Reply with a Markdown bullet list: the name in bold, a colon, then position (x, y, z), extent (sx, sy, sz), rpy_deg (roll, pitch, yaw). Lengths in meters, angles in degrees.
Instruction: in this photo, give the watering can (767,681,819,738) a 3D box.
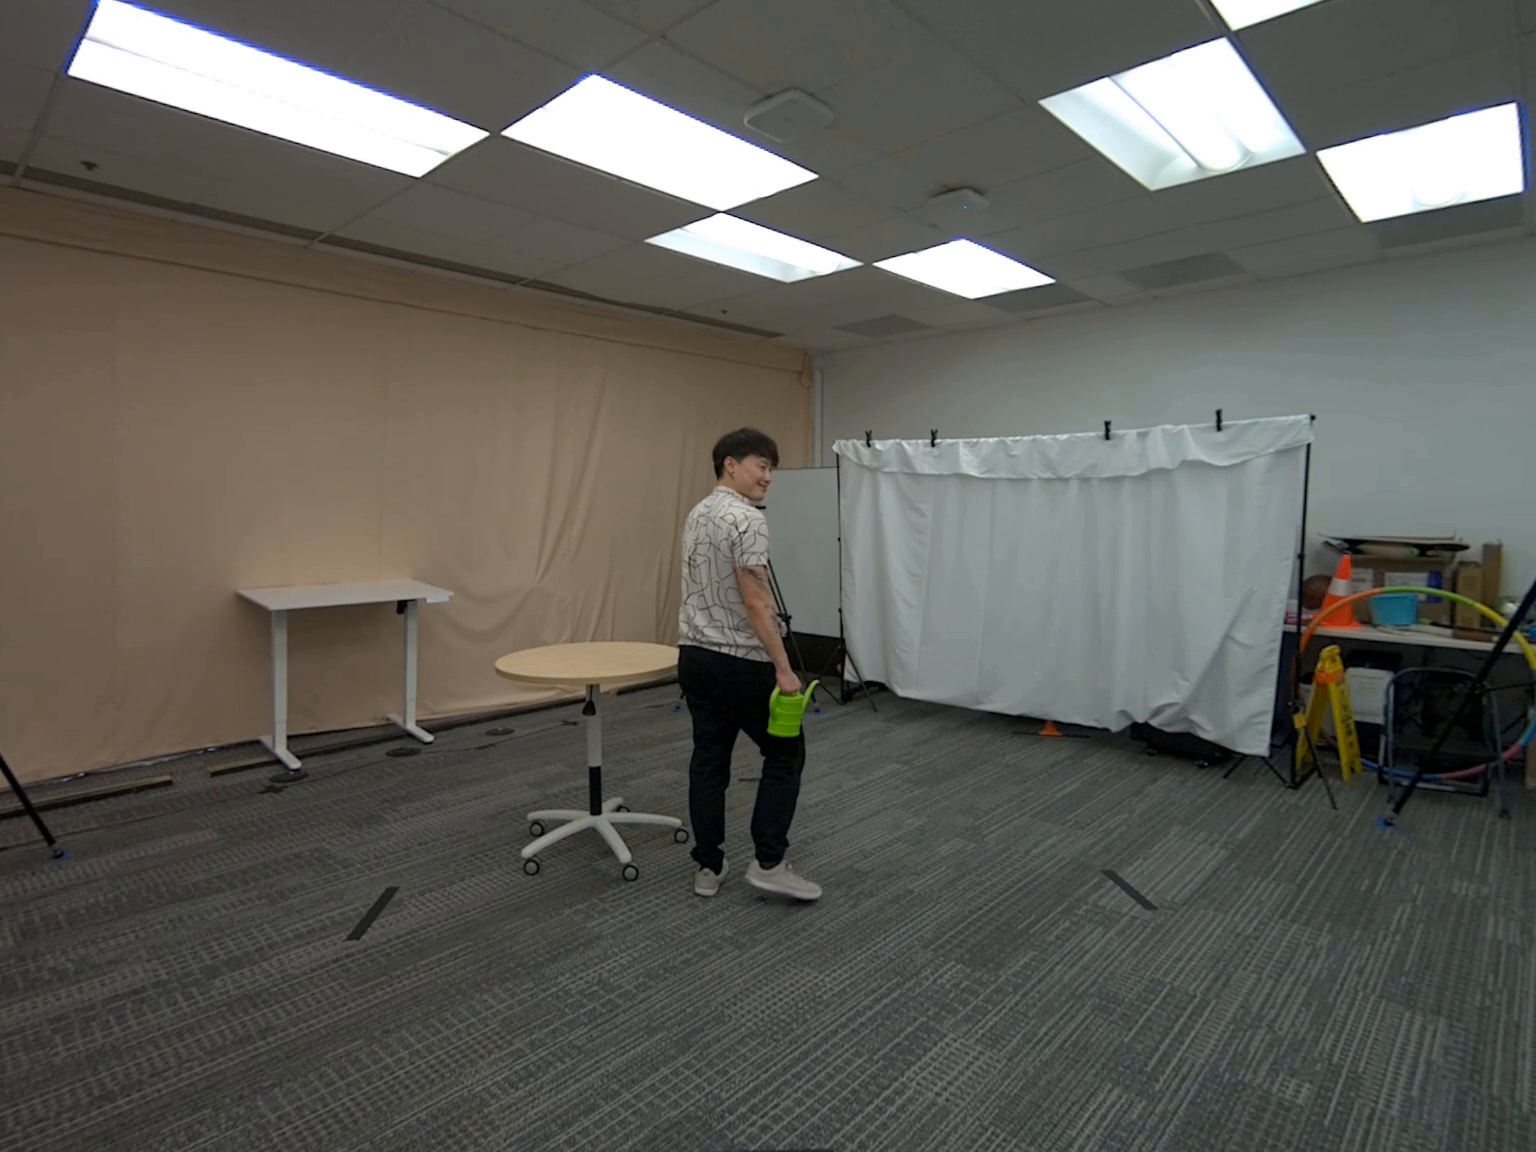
- **watering can**: position (0.102, 0.452, 2.884), extent (0.269, 0.177, 0.101), rpy_deg (3, 2, -42)
